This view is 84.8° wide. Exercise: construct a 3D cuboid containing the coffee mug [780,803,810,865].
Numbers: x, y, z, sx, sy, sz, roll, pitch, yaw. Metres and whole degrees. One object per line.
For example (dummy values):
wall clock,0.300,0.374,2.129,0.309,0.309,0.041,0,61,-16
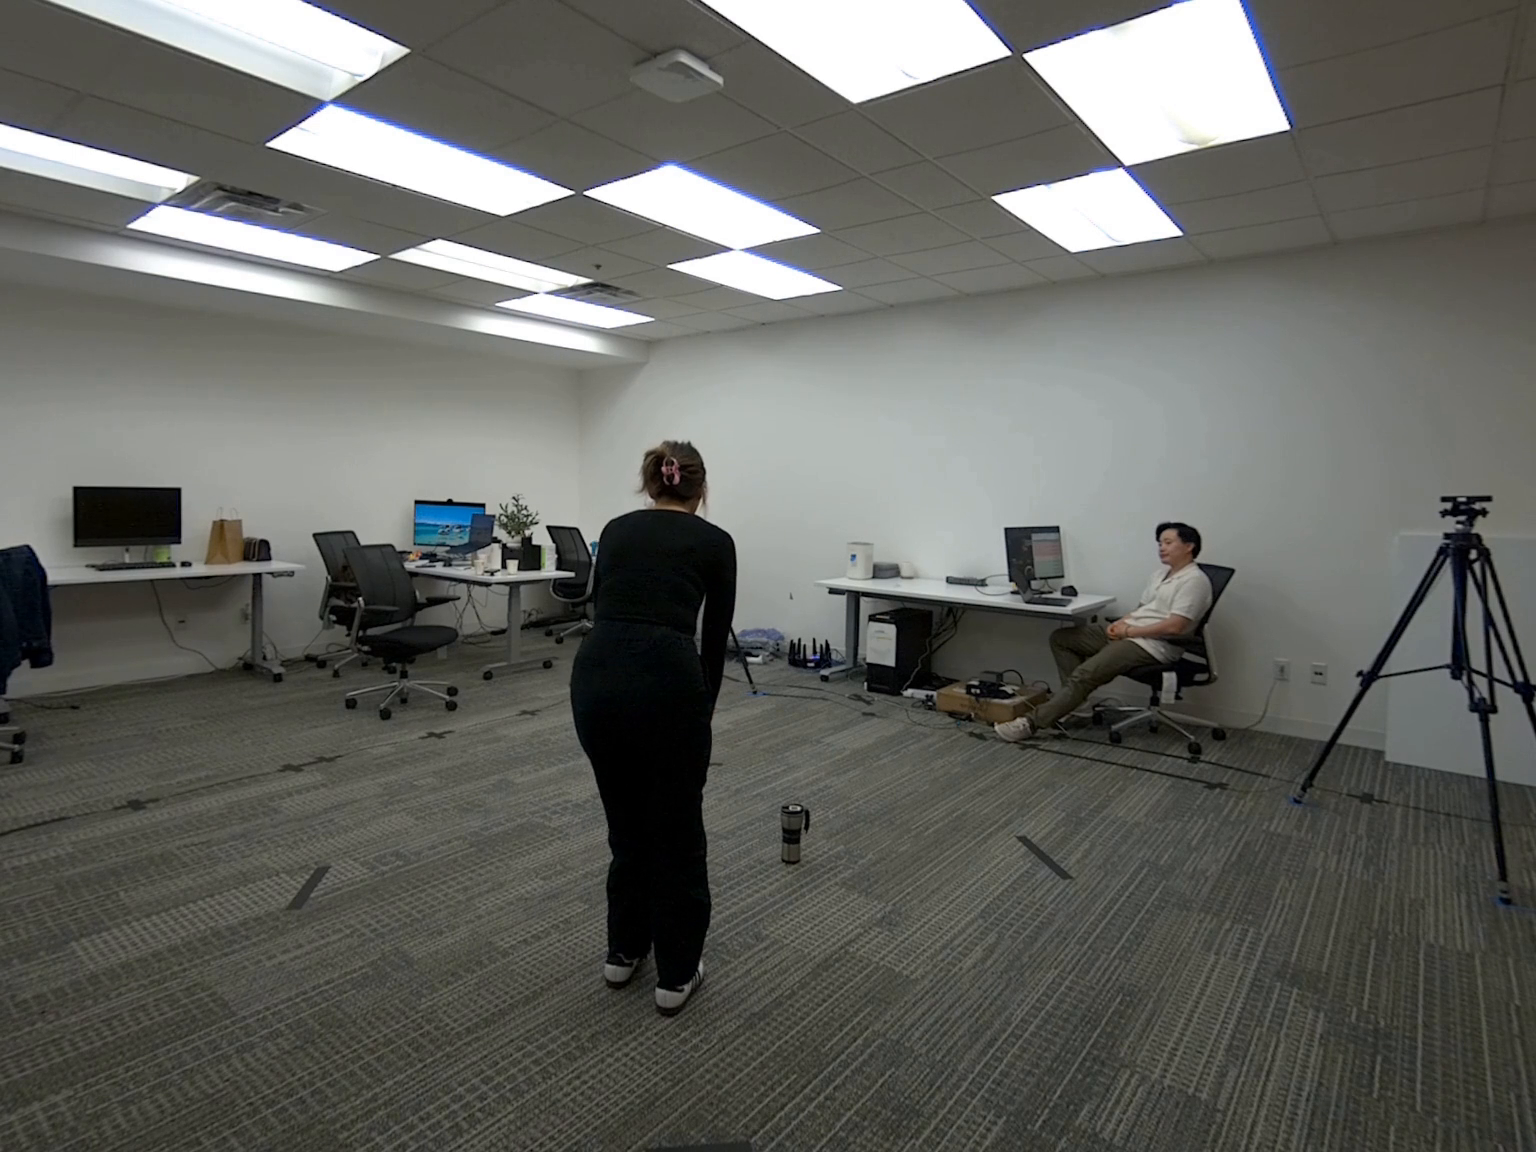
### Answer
coffee mug,0.104,0.964,3.189,0.121,0.202,0.088,-2,2,-6
